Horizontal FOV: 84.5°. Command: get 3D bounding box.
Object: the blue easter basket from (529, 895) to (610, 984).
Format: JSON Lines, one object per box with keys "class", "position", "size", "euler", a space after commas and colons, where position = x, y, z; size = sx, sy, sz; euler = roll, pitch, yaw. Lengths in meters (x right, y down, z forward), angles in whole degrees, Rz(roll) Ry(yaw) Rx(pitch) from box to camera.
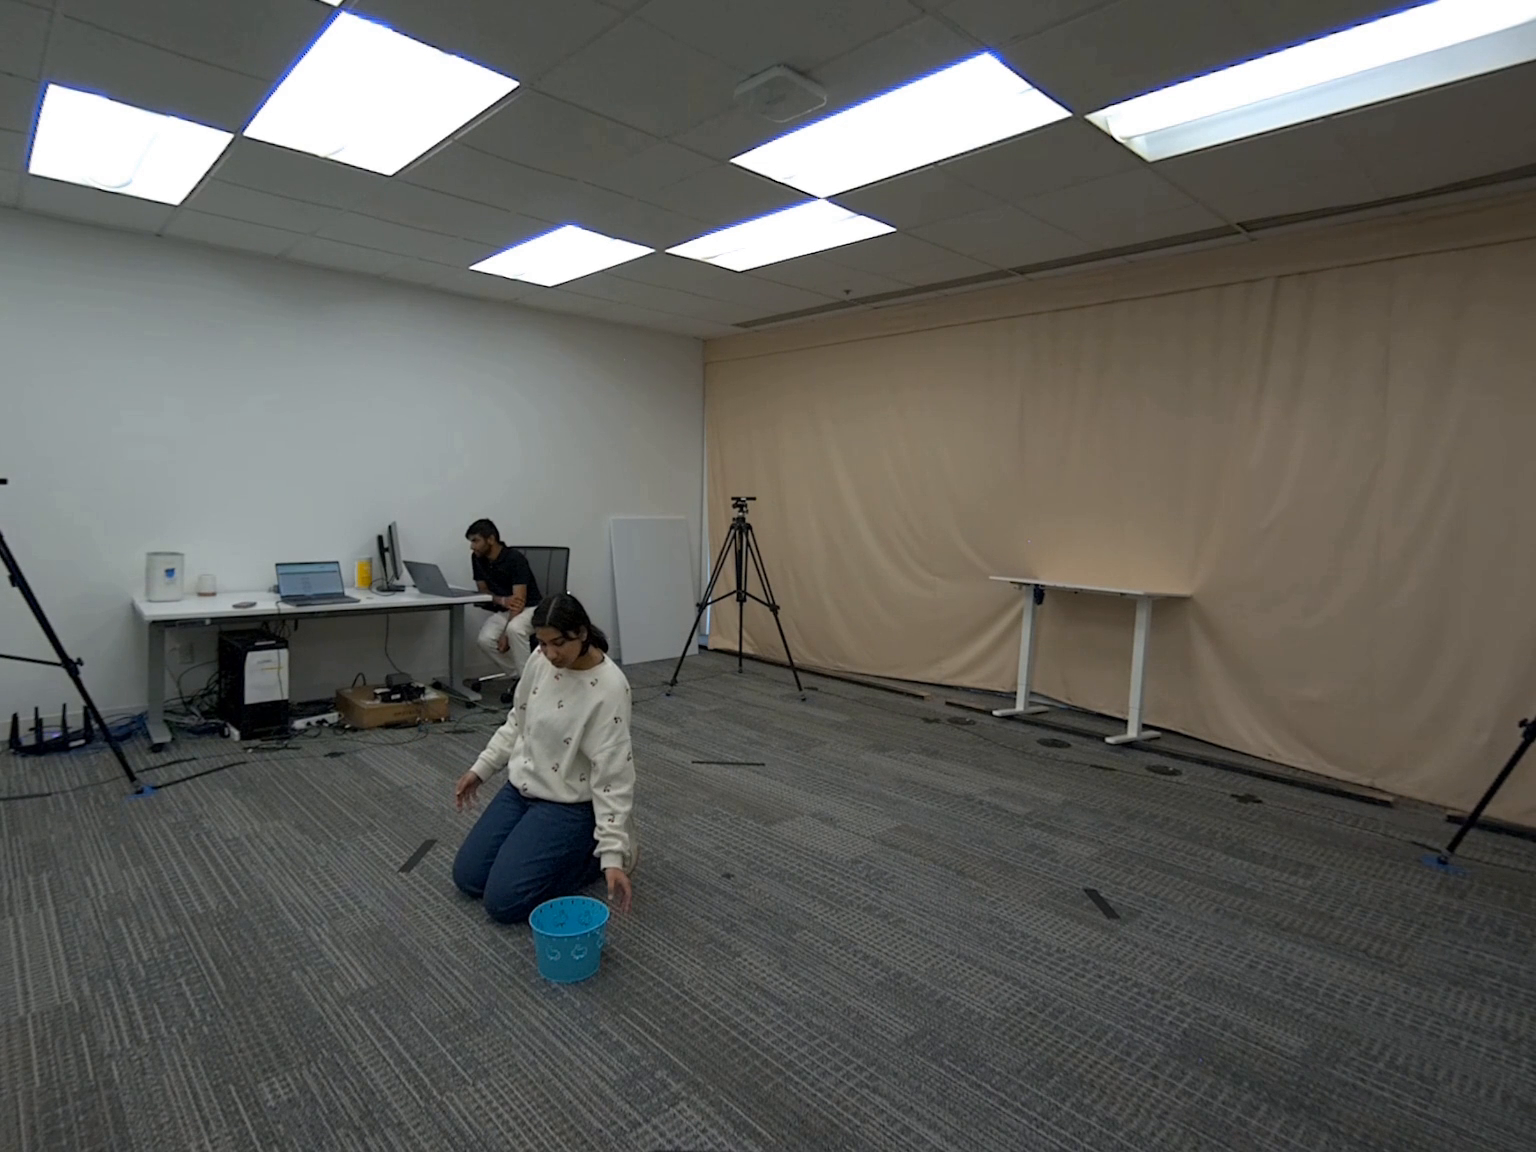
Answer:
{"class": "blue easter basket", "position": [-0.597, 1.074, 2.487], "size": [0.243, 0.155, 0.244], "euler": [2, 5, -2]}
